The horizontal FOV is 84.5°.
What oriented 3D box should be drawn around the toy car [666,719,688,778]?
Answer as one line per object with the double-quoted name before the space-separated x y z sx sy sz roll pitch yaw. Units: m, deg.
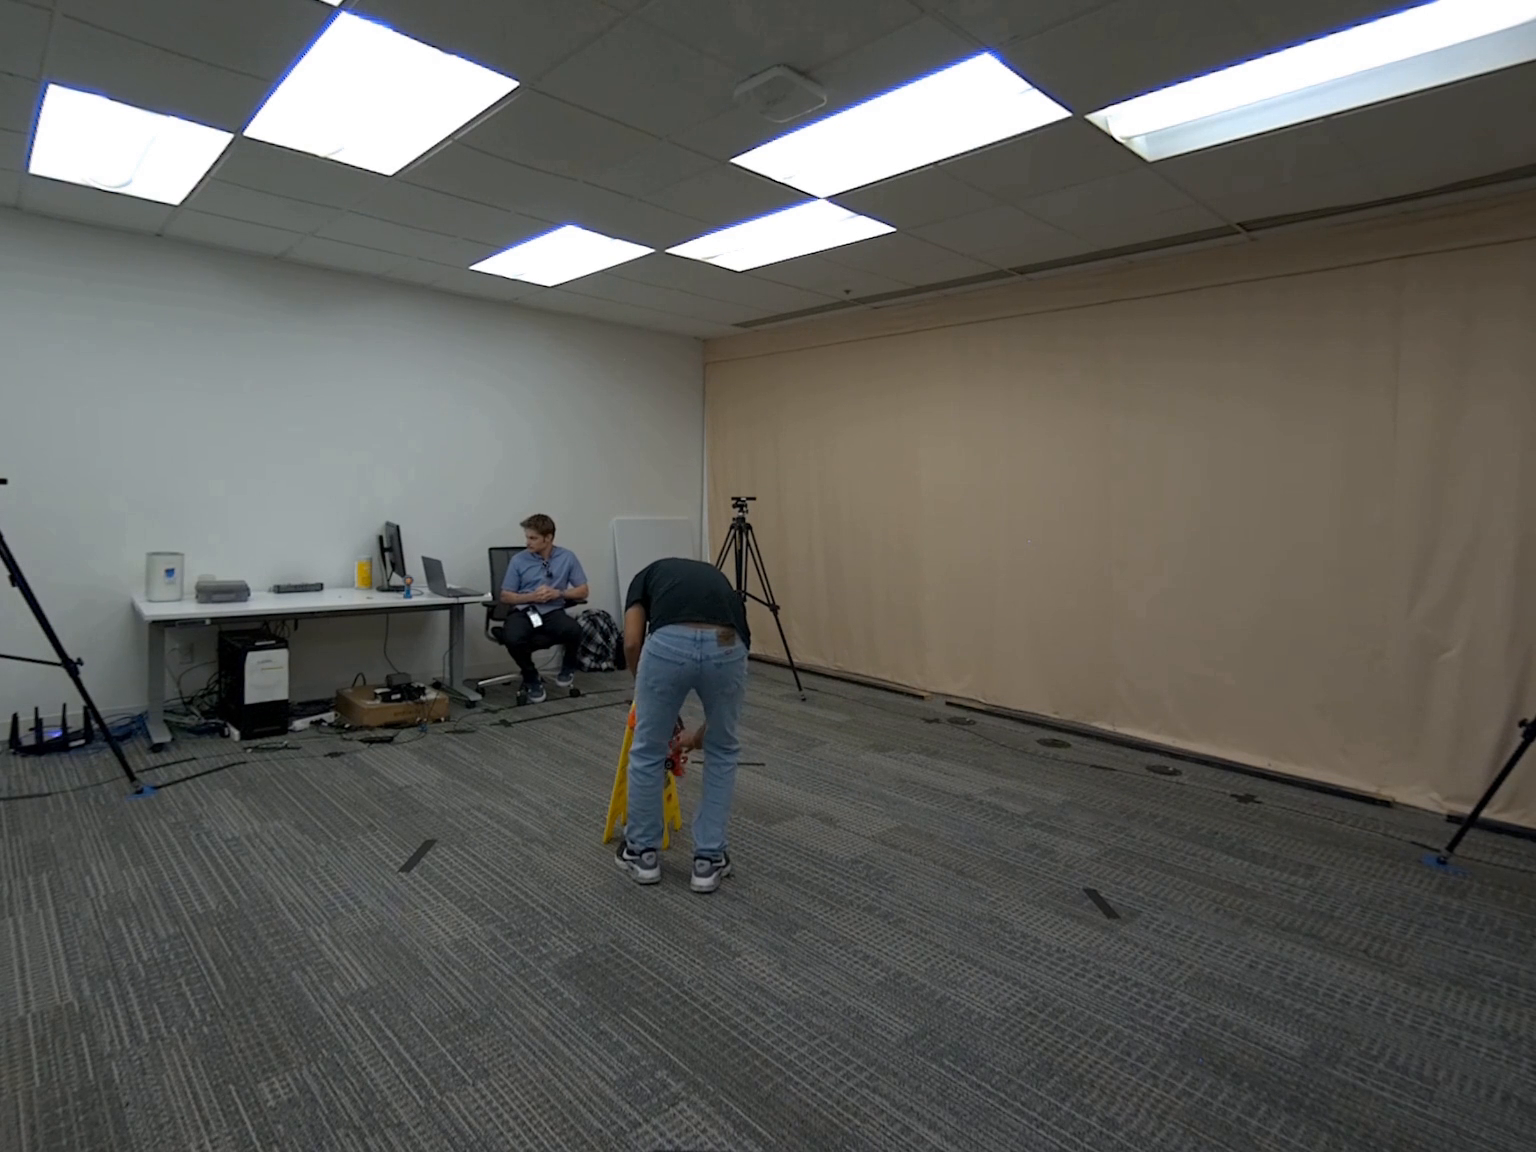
"toy car" -0.398 0.703 3.432 0.083 0.253 0.130 -17 6 5
